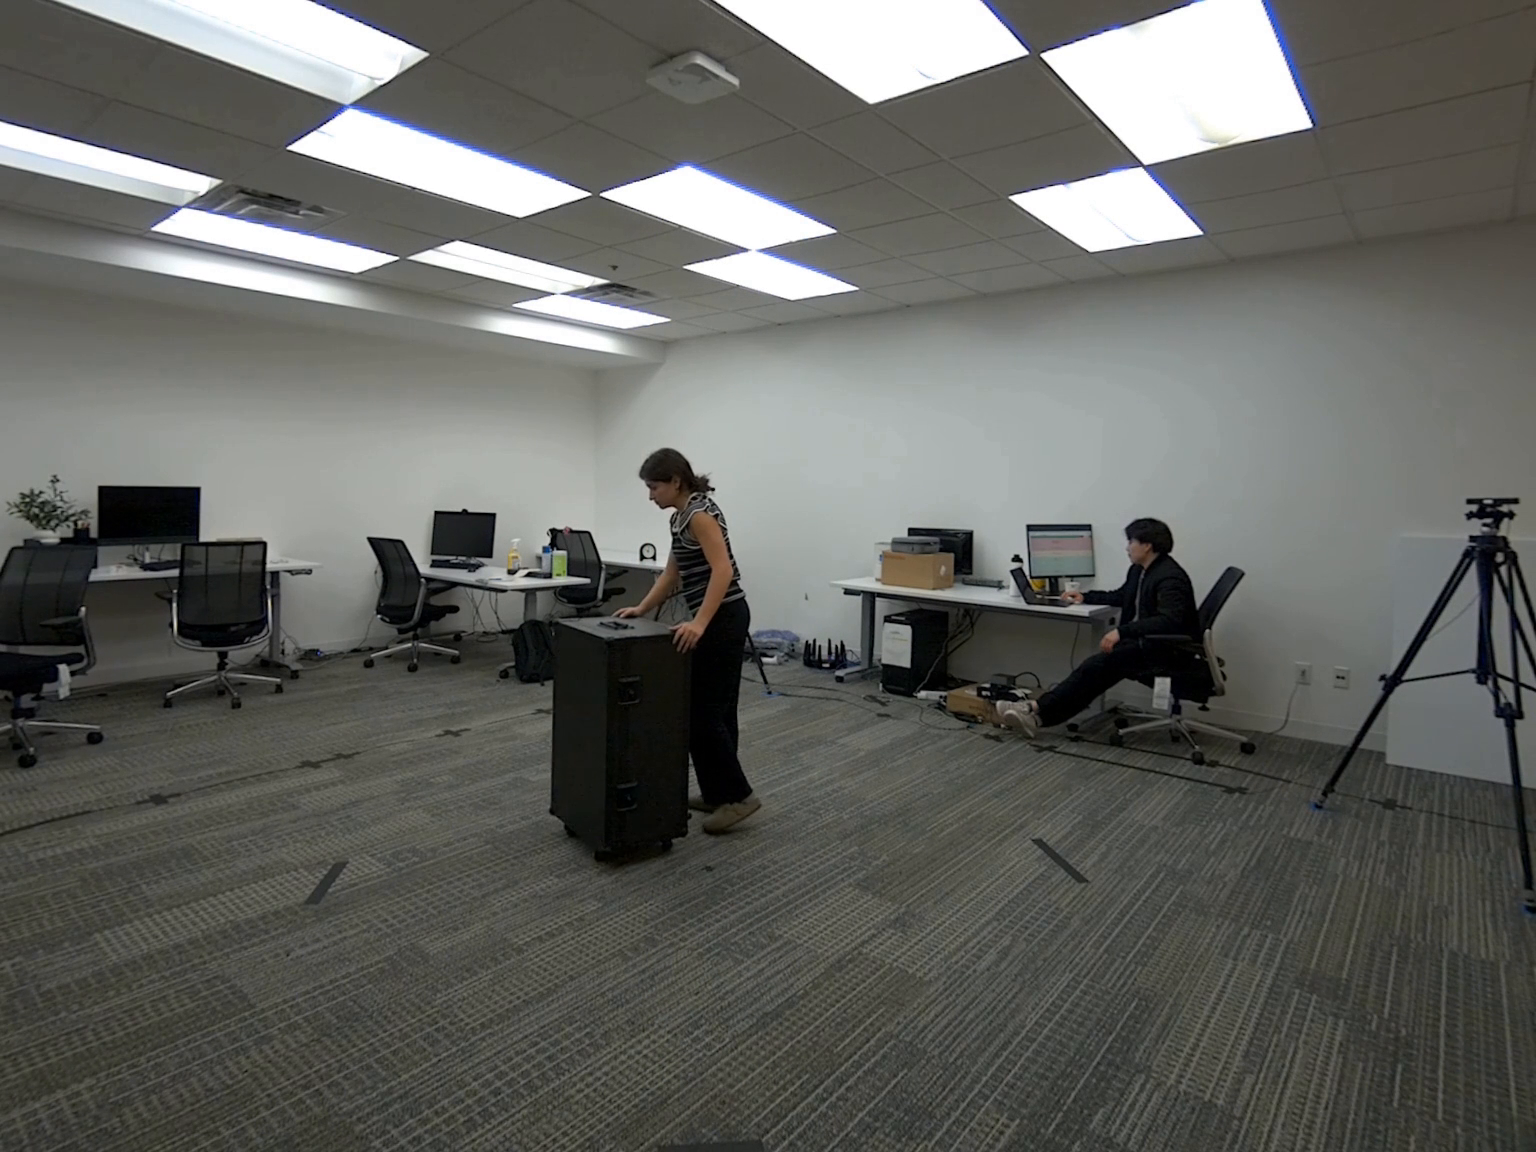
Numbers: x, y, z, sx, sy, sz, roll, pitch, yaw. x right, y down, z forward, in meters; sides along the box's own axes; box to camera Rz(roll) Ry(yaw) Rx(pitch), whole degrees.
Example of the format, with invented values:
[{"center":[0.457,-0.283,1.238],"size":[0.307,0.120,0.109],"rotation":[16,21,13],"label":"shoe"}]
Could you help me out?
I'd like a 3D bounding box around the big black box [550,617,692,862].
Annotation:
[{"center":[-0.592,0.616,3.314],"size":[0.384,0.860,0.538],"rotation":[1,3,-36],"label":"big black box"}]
